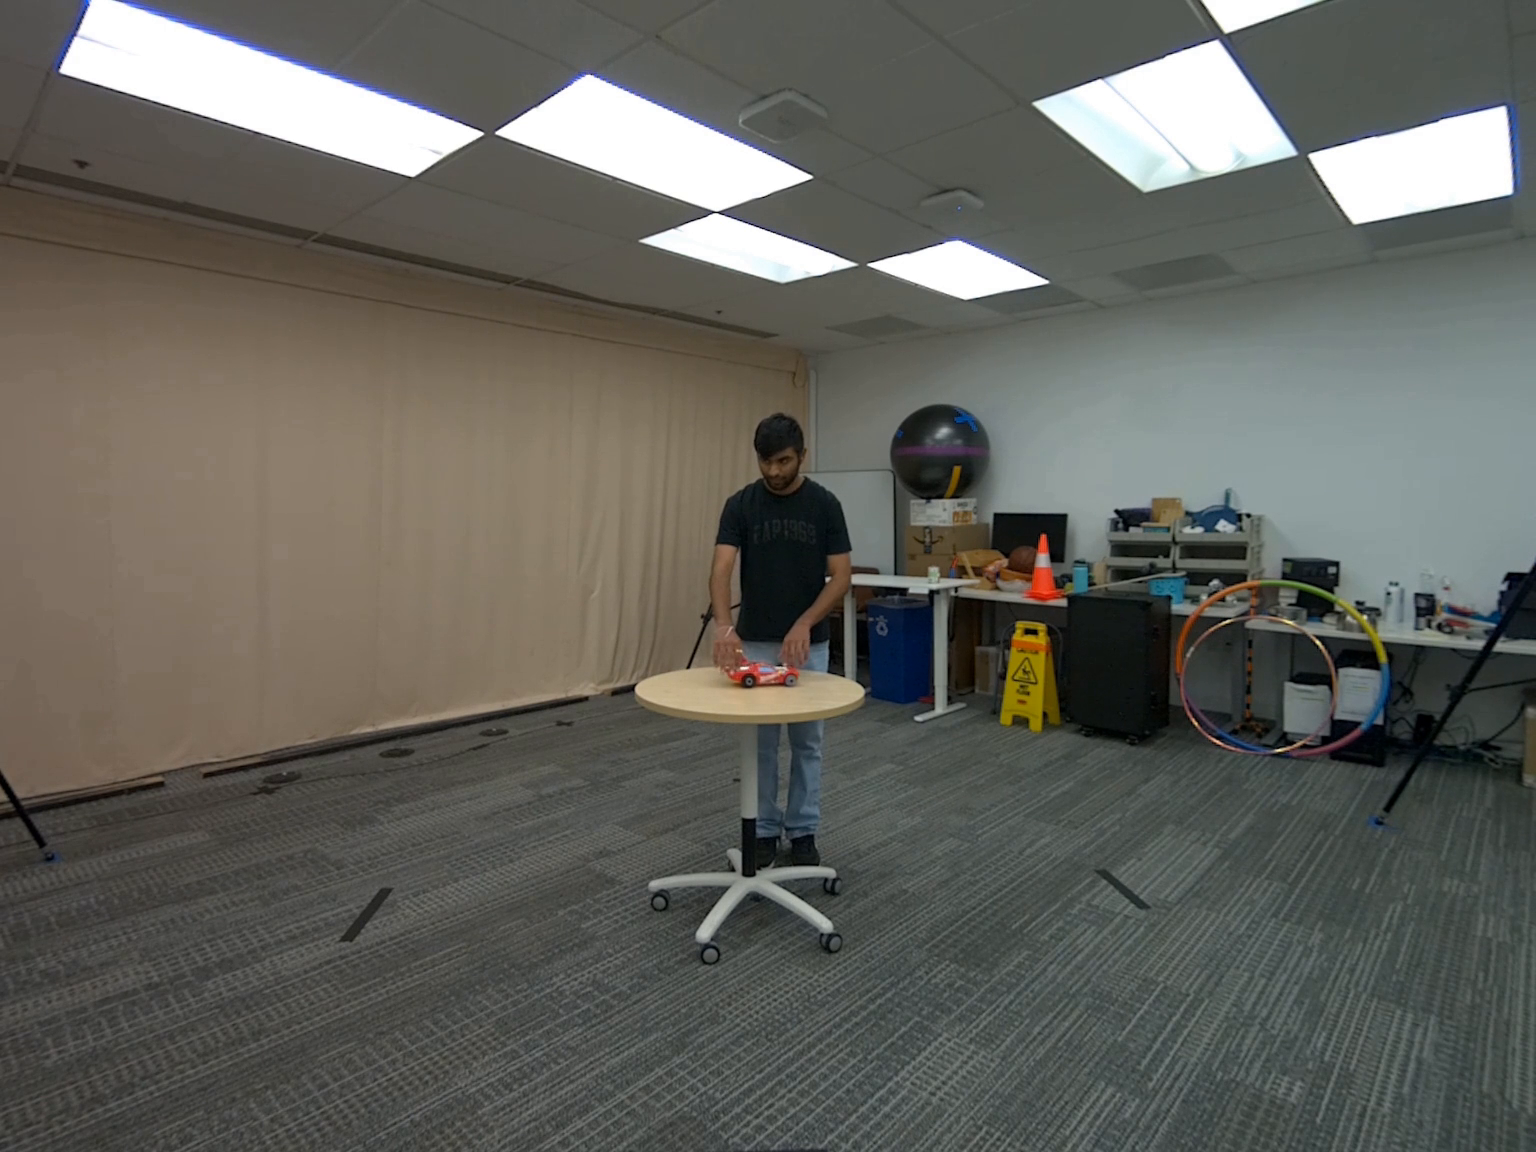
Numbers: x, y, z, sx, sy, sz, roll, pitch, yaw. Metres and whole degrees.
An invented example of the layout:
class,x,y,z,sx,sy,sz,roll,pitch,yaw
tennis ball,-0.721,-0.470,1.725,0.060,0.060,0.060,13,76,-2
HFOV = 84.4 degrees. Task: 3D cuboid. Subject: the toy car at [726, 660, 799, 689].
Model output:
class,x,y,z,sx,sy,sz,roll,pitch,yaw
toy car,-0.028,0.338,2.877,0.252,0.083,0.132,10,2,-10
